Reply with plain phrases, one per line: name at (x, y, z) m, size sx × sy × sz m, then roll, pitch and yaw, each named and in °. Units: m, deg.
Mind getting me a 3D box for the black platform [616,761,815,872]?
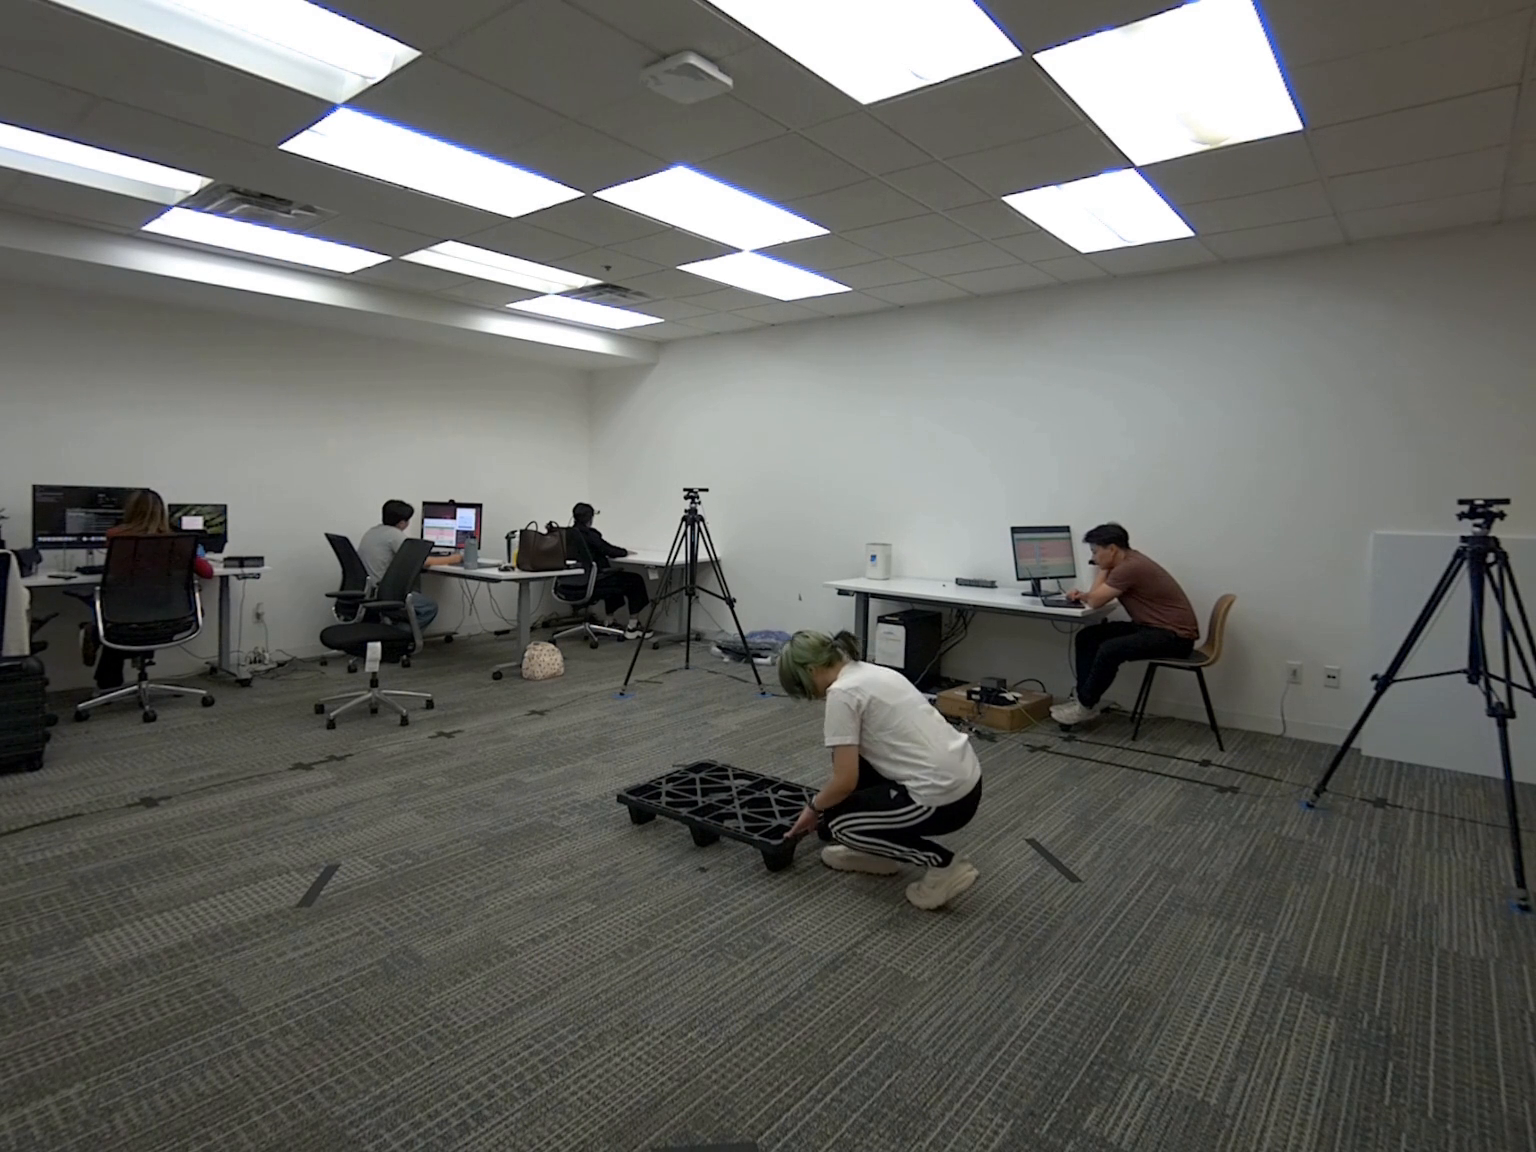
black platform at (-0.145, 0.967, 3.489) m, size 0.832 × 0.143 × 0.588 m, roll 5°, pitch 8°, yaw 36°
